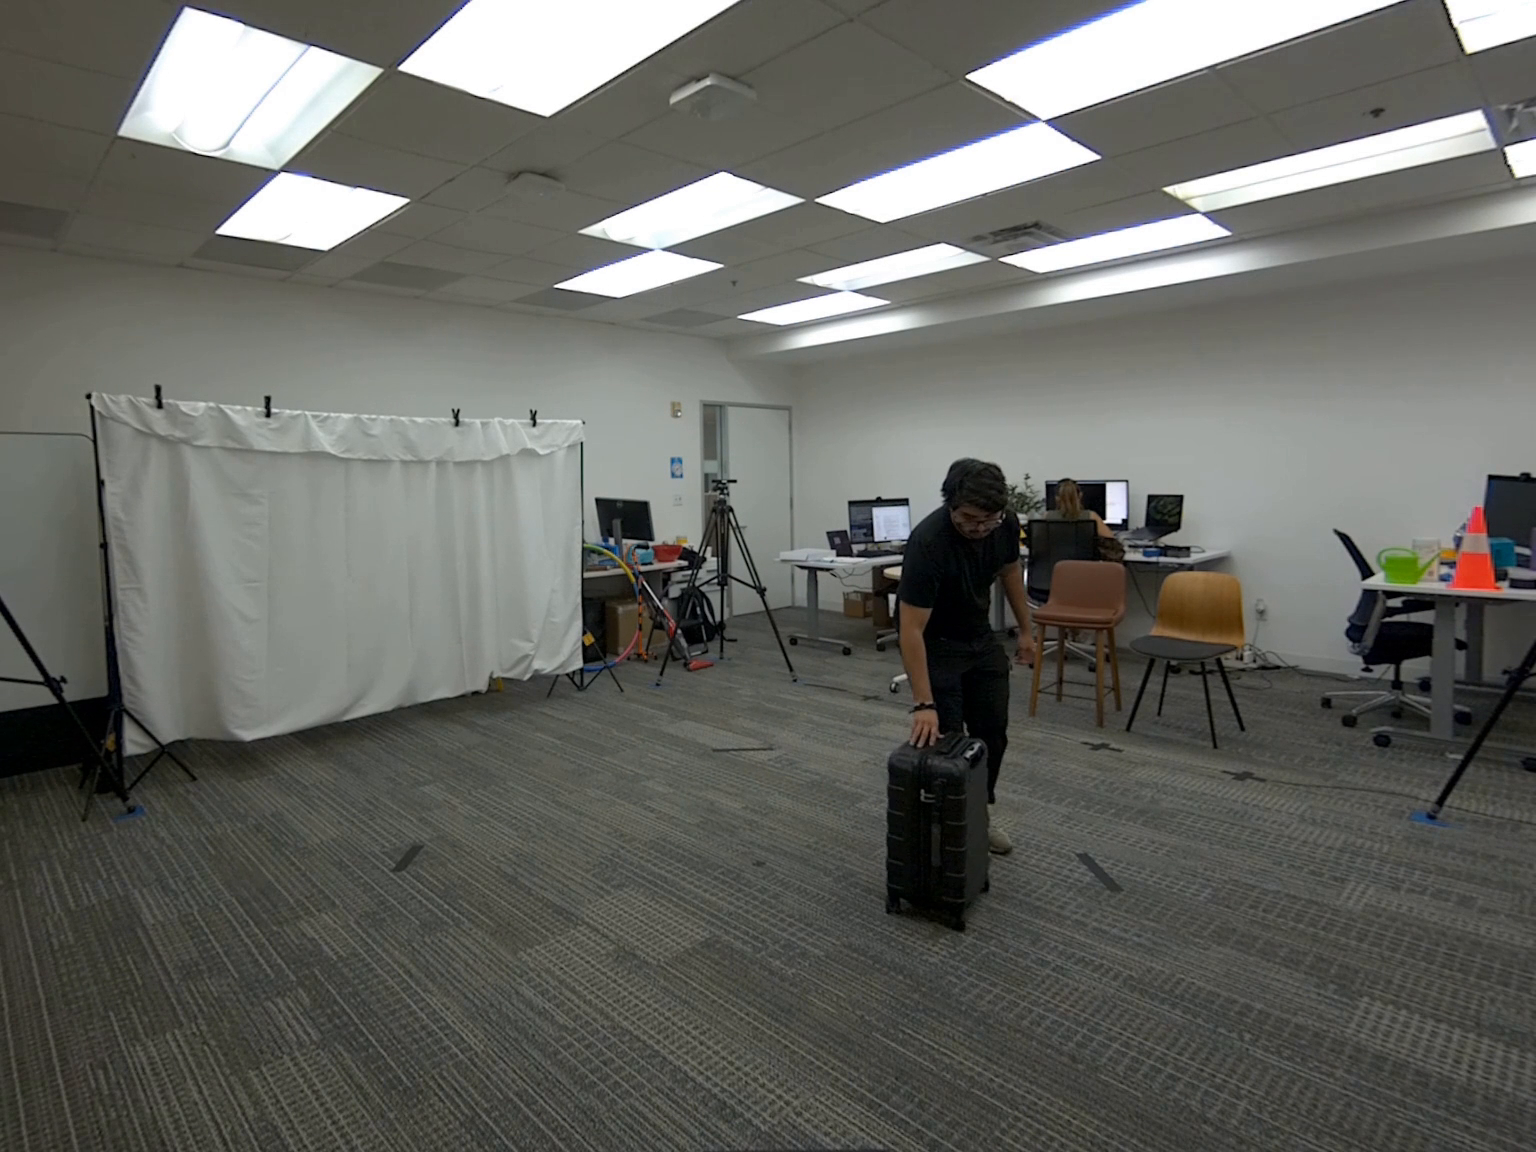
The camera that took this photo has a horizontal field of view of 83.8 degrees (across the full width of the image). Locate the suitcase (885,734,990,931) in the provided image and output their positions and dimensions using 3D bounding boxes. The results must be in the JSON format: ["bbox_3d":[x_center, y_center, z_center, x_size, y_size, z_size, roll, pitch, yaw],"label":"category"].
[{"bbox_3d":[0.559,0.799,2.780,0.255,0.547,0.367,1,6,30],"label":"suitcase"}]
